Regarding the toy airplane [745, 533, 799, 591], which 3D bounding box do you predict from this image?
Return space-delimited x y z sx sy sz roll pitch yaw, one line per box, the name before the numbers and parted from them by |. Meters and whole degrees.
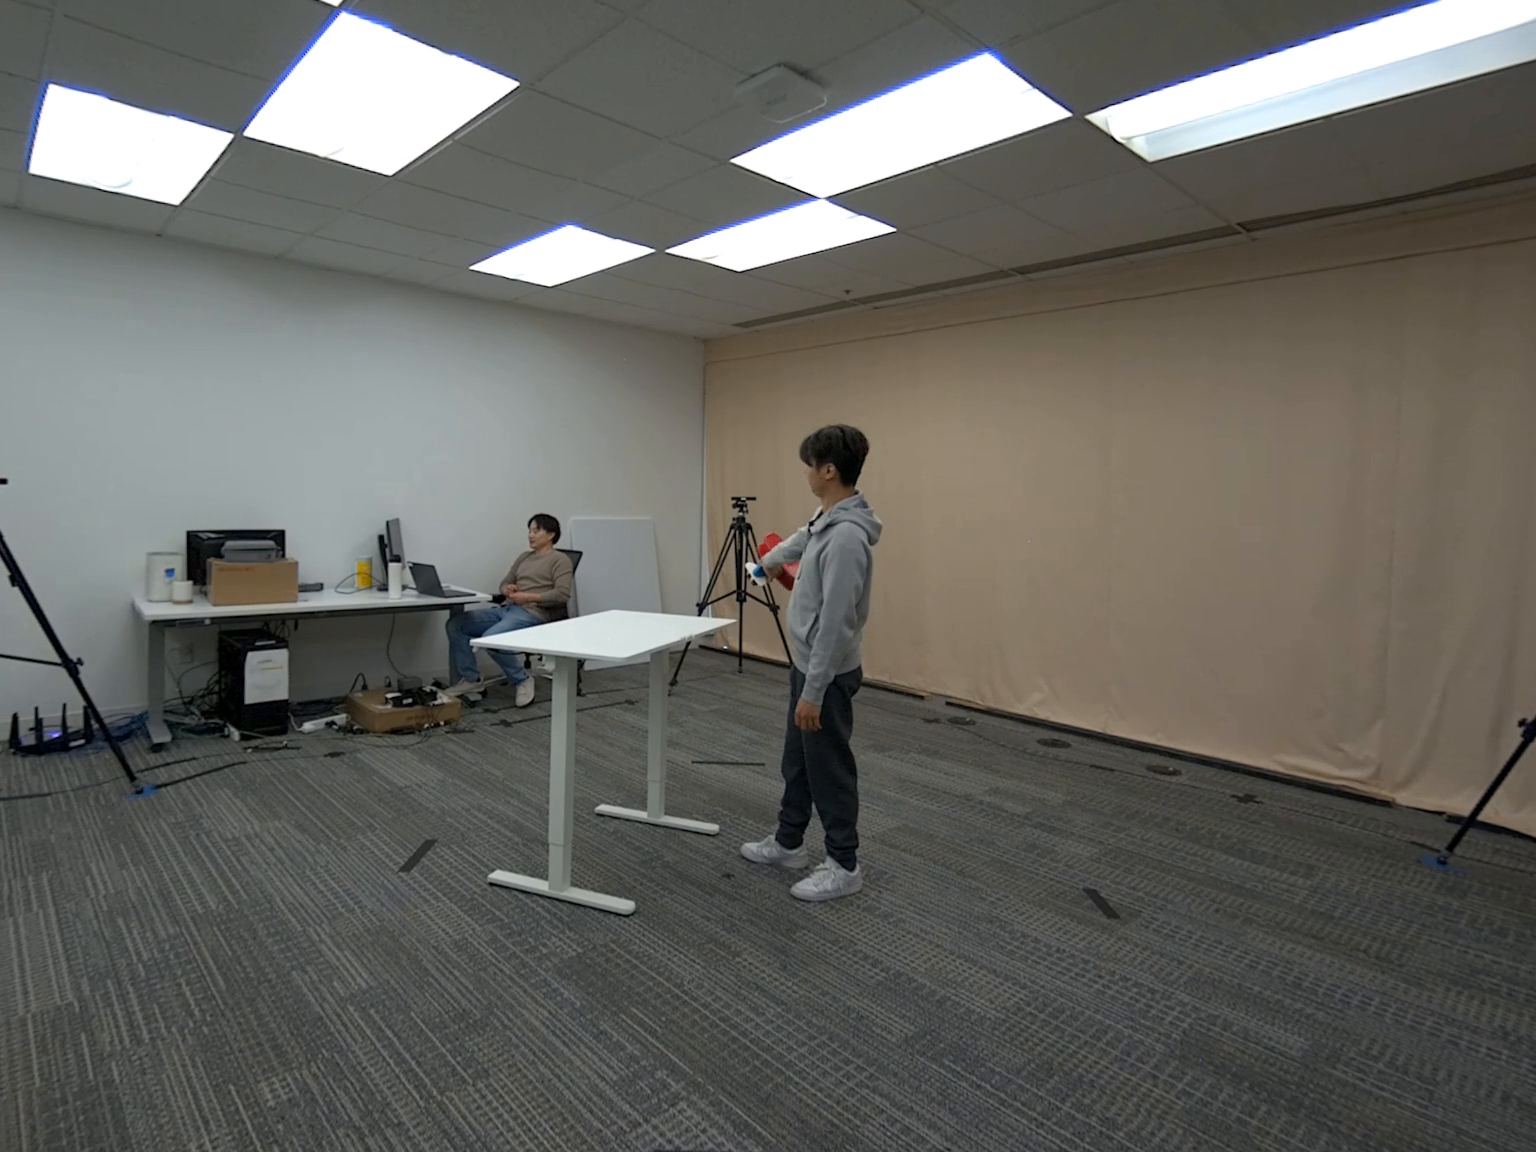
toy airplane | 0.030 -0.033 3.642 0.249 0.156 0.261 36 37 -7
